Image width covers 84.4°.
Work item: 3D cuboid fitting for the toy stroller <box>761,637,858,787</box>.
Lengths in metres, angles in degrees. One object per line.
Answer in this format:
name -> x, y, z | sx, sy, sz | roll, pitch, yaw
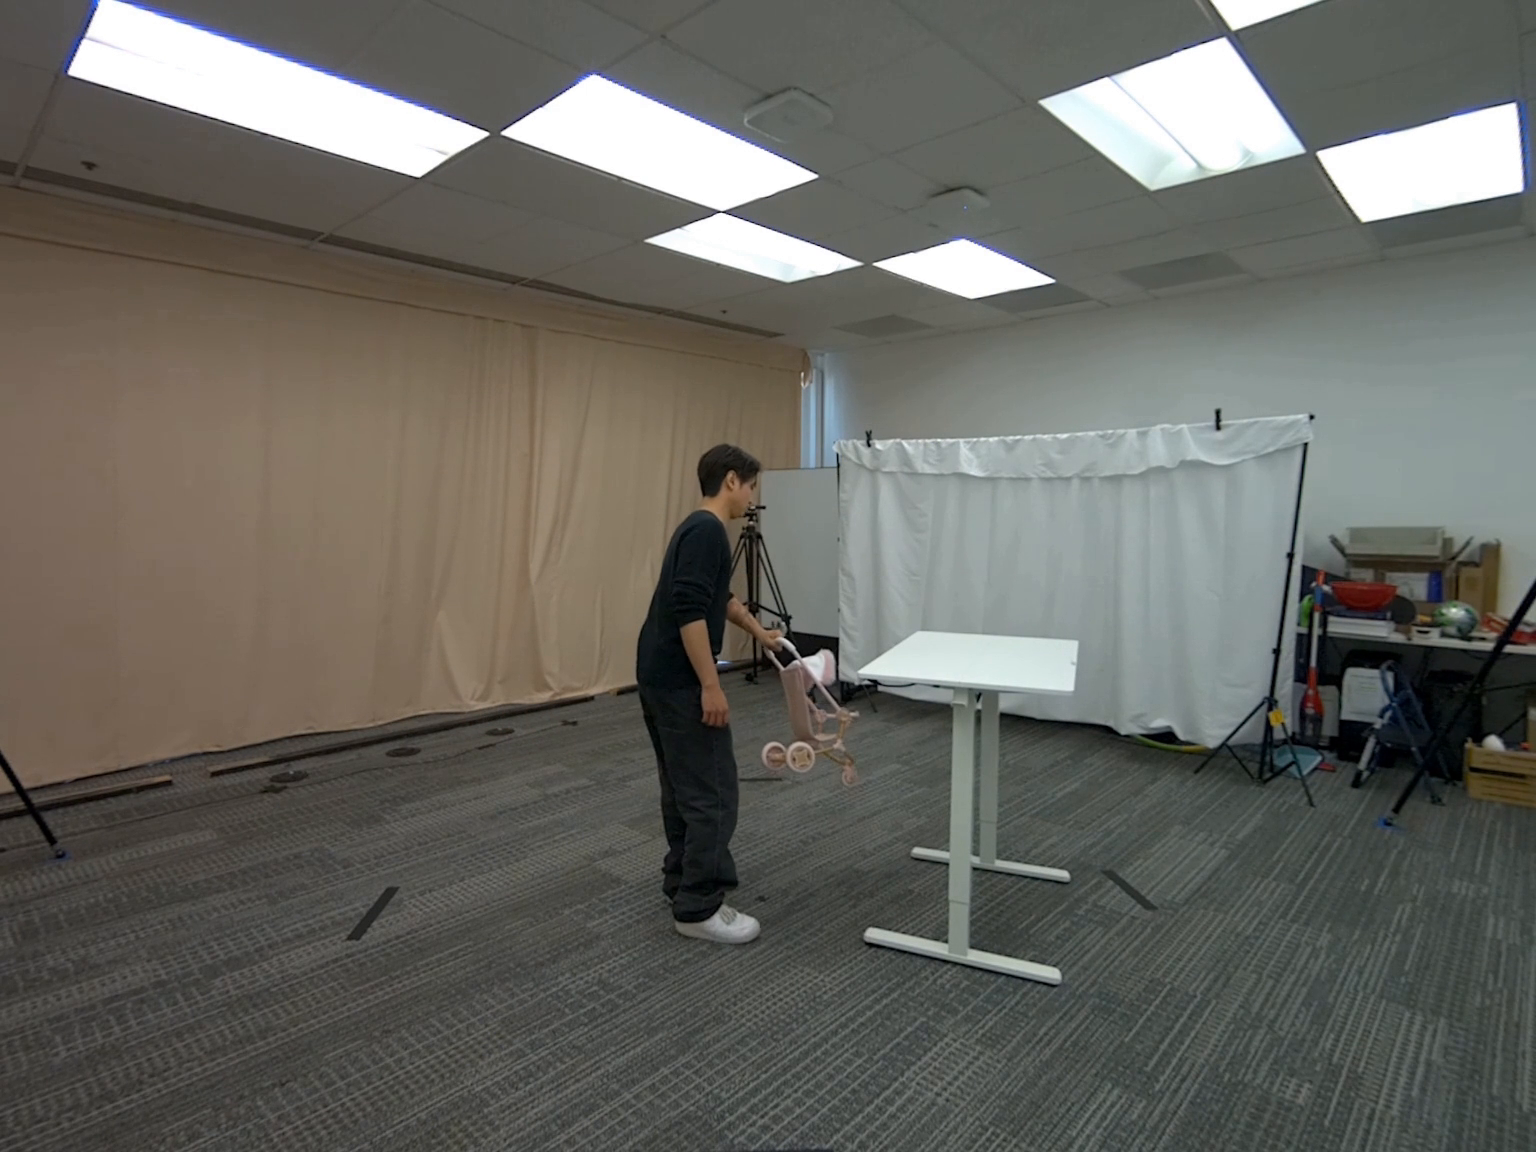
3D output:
toy stroller -> 0.175, 0.519, 3.119 | 0.335, 0.540, 0.284 | 1, -14, -18
